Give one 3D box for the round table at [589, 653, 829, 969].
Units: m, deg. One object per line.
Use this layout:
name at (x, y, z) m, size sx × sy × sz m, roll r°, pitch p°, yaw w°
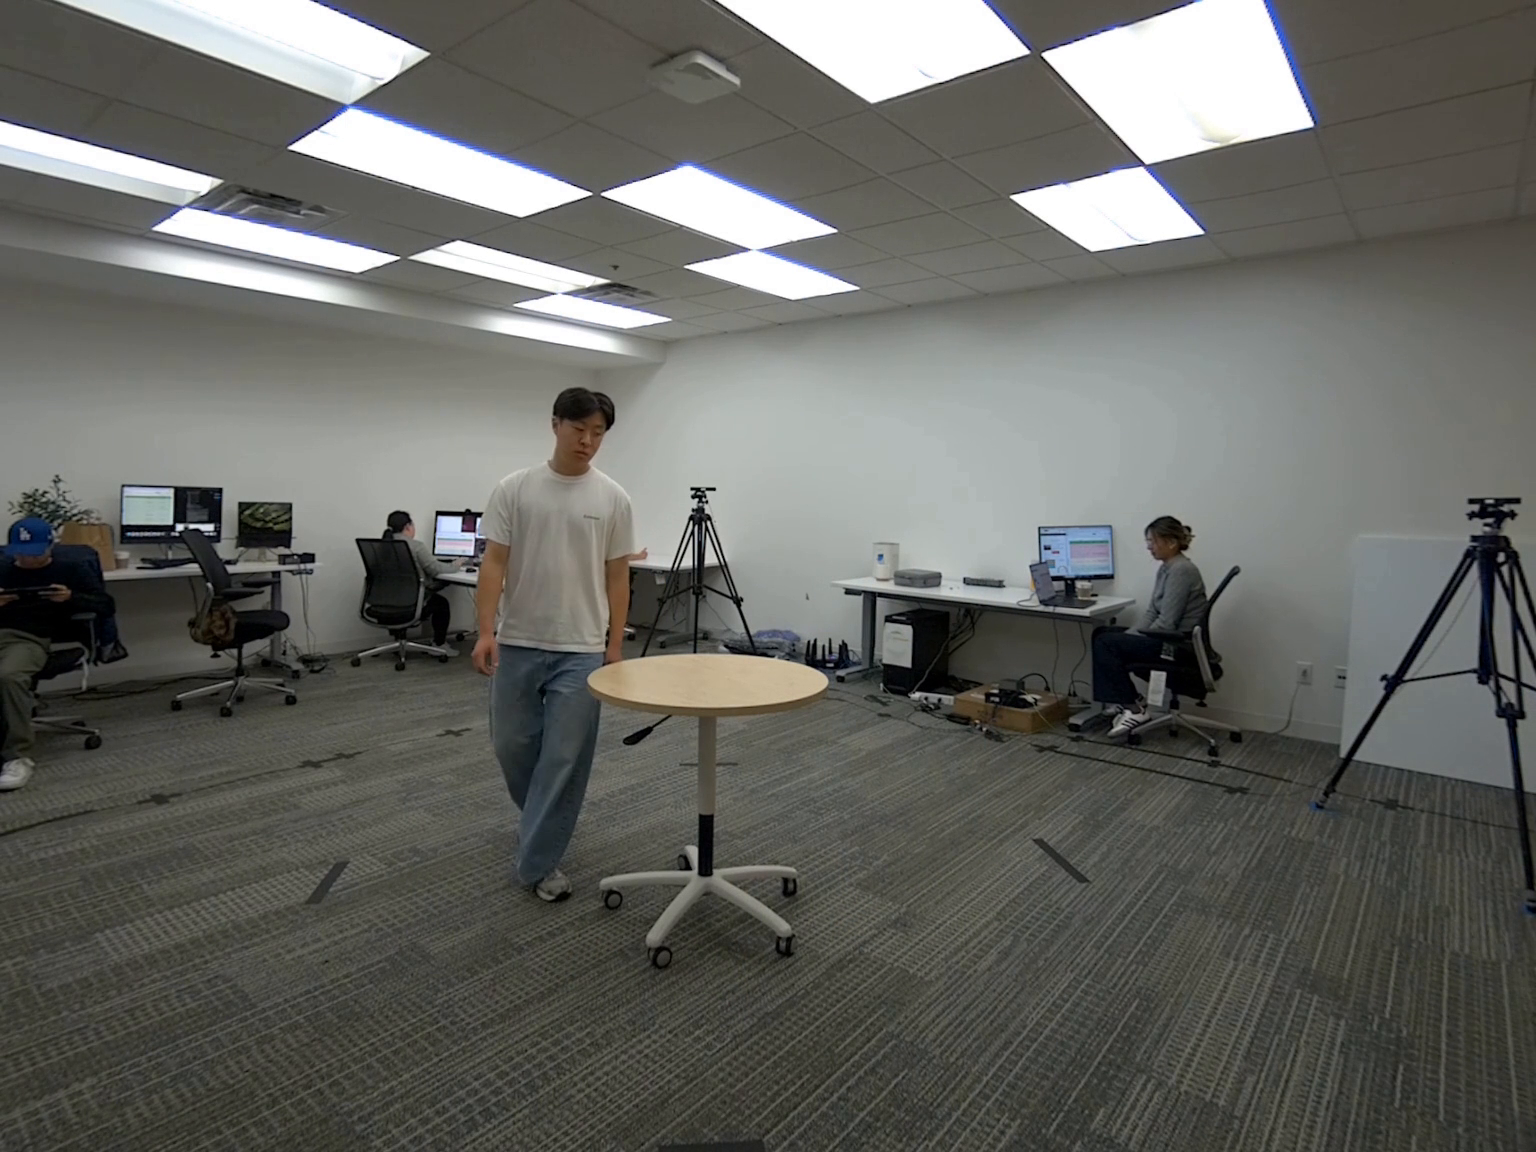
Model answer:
round table at (-0.206, 0.713, 2.739) m, size 0.763 × 0.791 × 0.768 m, roll 1°, pitch 4°, yaw -2°
